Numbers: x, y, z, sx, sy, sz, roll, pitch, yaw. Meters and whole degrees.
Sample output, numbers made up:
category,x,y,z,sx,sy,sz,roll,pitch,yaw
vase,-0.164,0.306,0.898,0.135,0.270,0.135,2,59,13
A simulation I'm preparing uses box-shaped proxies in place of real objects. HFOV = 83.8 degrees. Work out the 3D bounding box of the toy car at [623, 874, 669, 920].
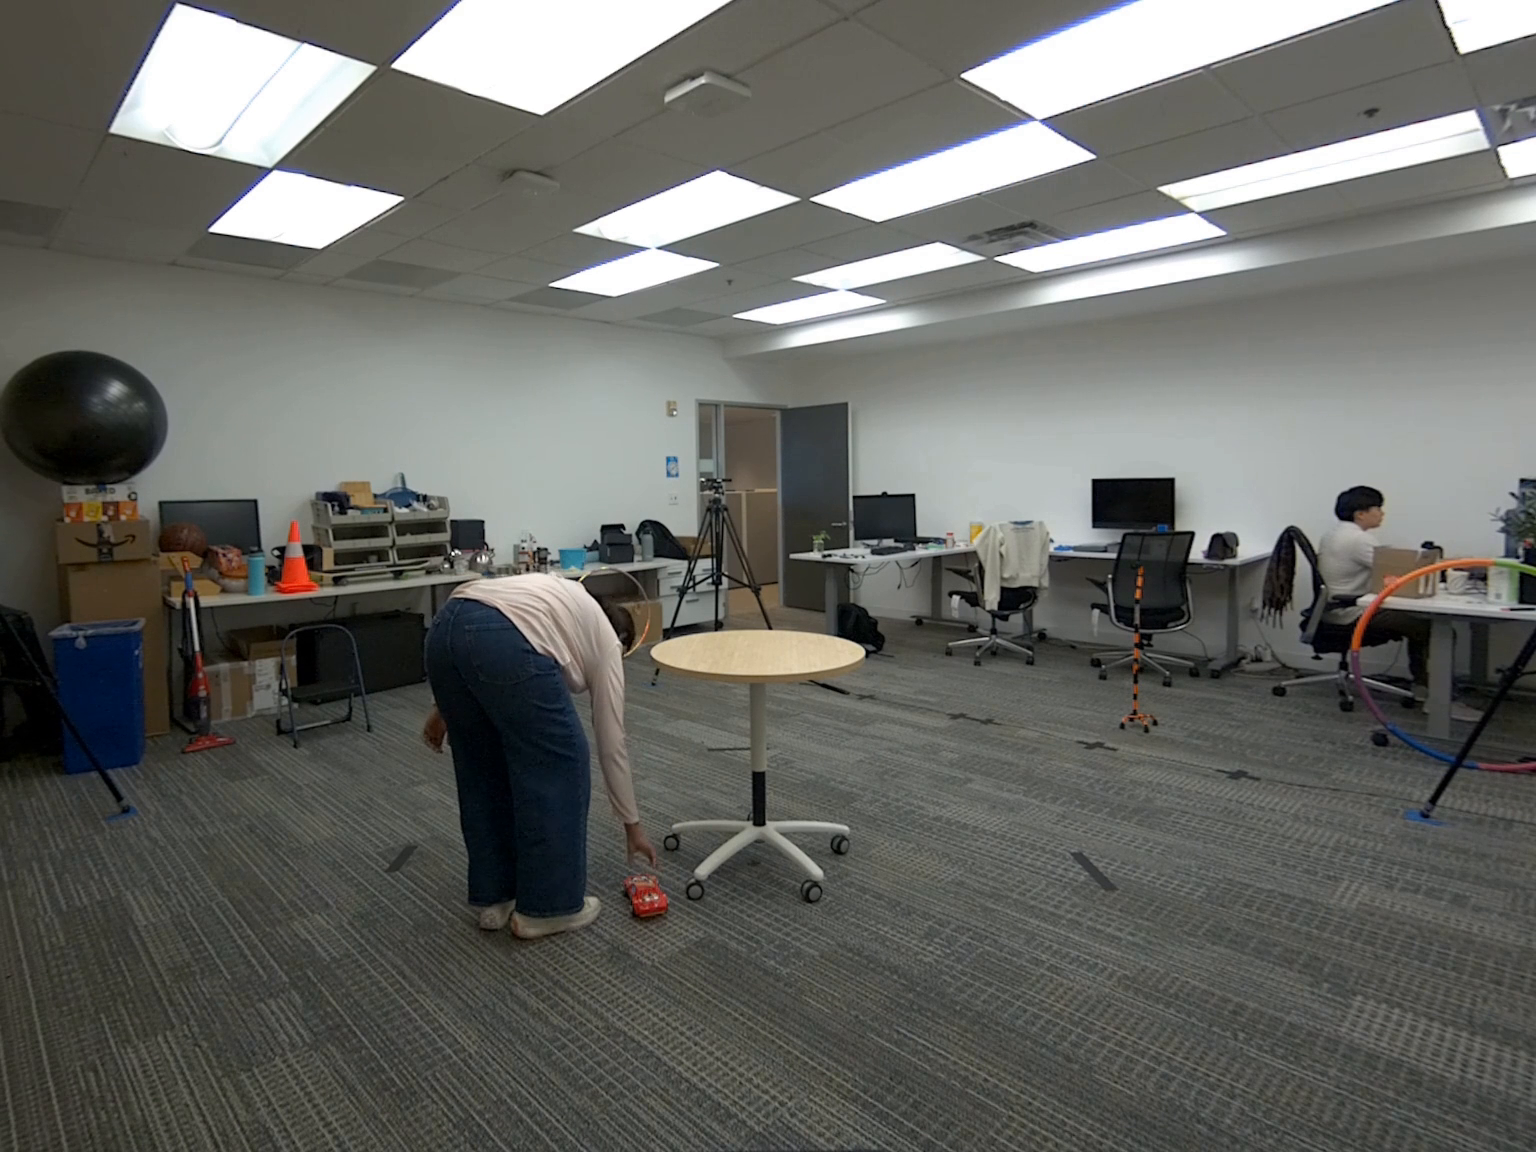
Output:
category,x,y,z,sx,sy,sz,roll,pitch,yaw
toy car,-0.395,1.054,2.805,0.128,0.083,0.257,-4,-3,-19
